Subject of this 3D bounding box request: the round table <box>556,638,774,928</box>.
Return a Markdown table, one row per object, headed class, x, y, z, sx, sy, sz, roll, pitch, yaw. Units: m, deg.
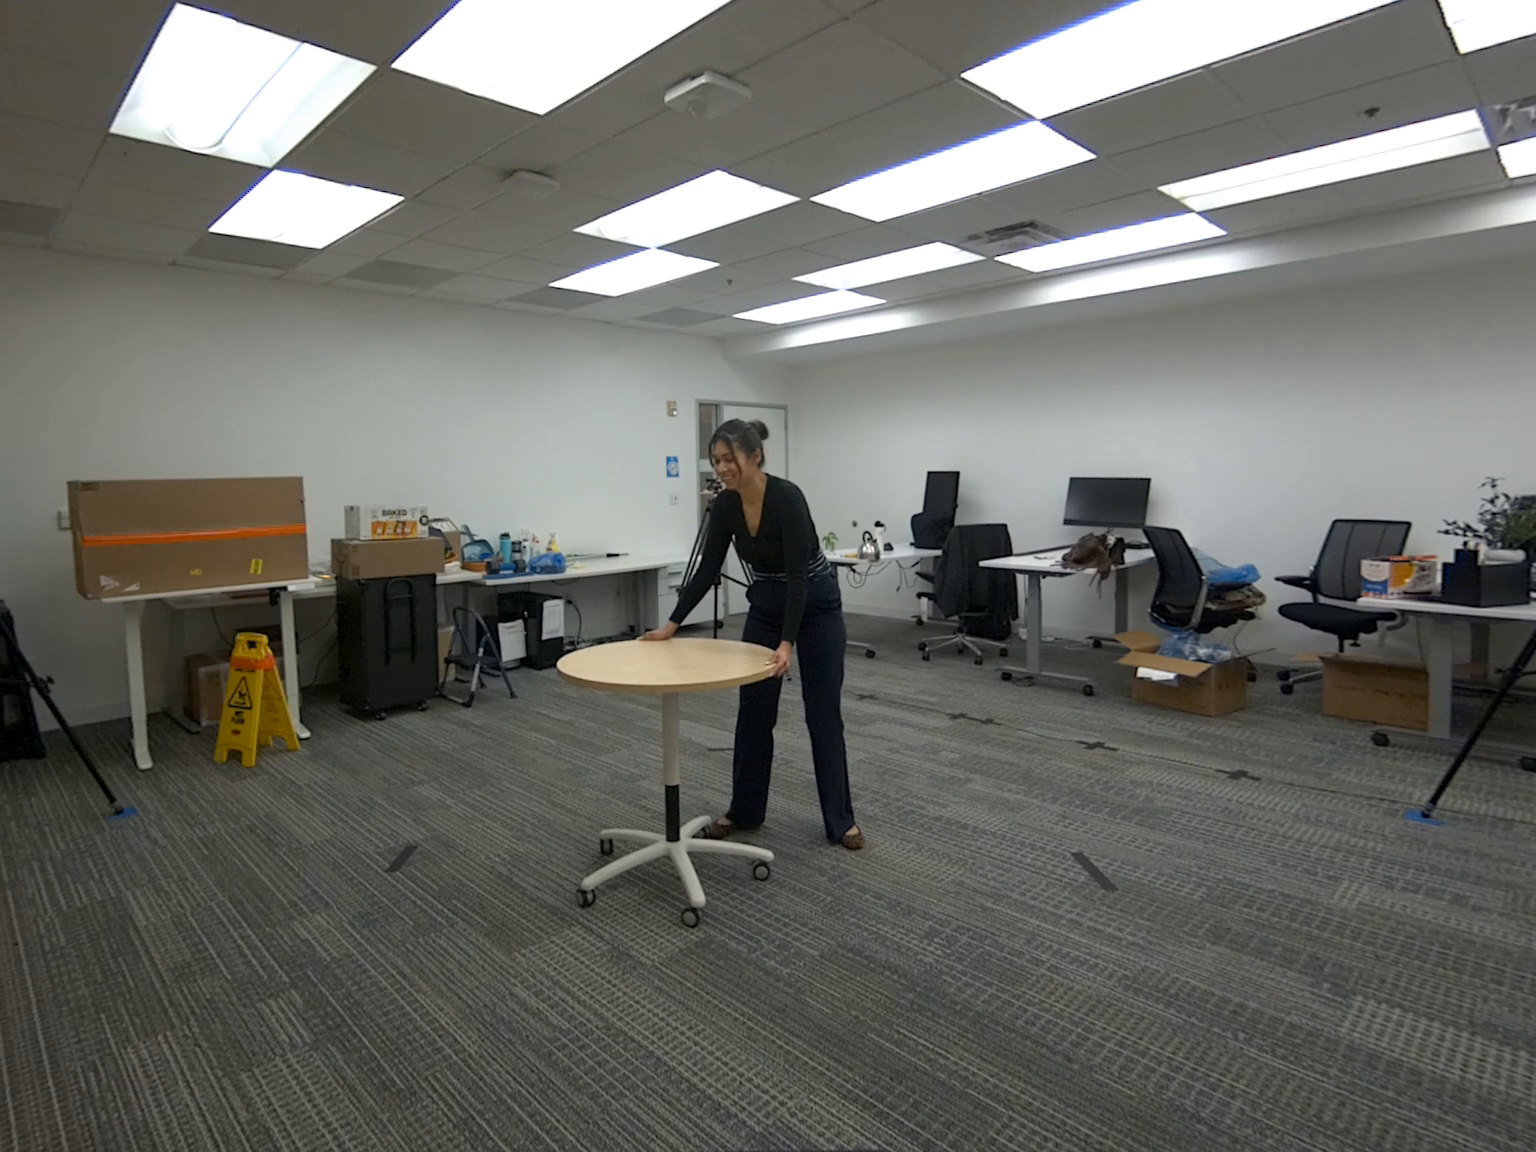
| class | x | y | z | sx | sy | sz | roll | pitch | yaw |
| --- | --- | --- | --- | --- | --- | --- | --- | --- | --- |
| round table | -0.331 | 0.676 | 2.974 | 0.763 | 0.791 | 0.768 | -1 | 5 | -2 |
